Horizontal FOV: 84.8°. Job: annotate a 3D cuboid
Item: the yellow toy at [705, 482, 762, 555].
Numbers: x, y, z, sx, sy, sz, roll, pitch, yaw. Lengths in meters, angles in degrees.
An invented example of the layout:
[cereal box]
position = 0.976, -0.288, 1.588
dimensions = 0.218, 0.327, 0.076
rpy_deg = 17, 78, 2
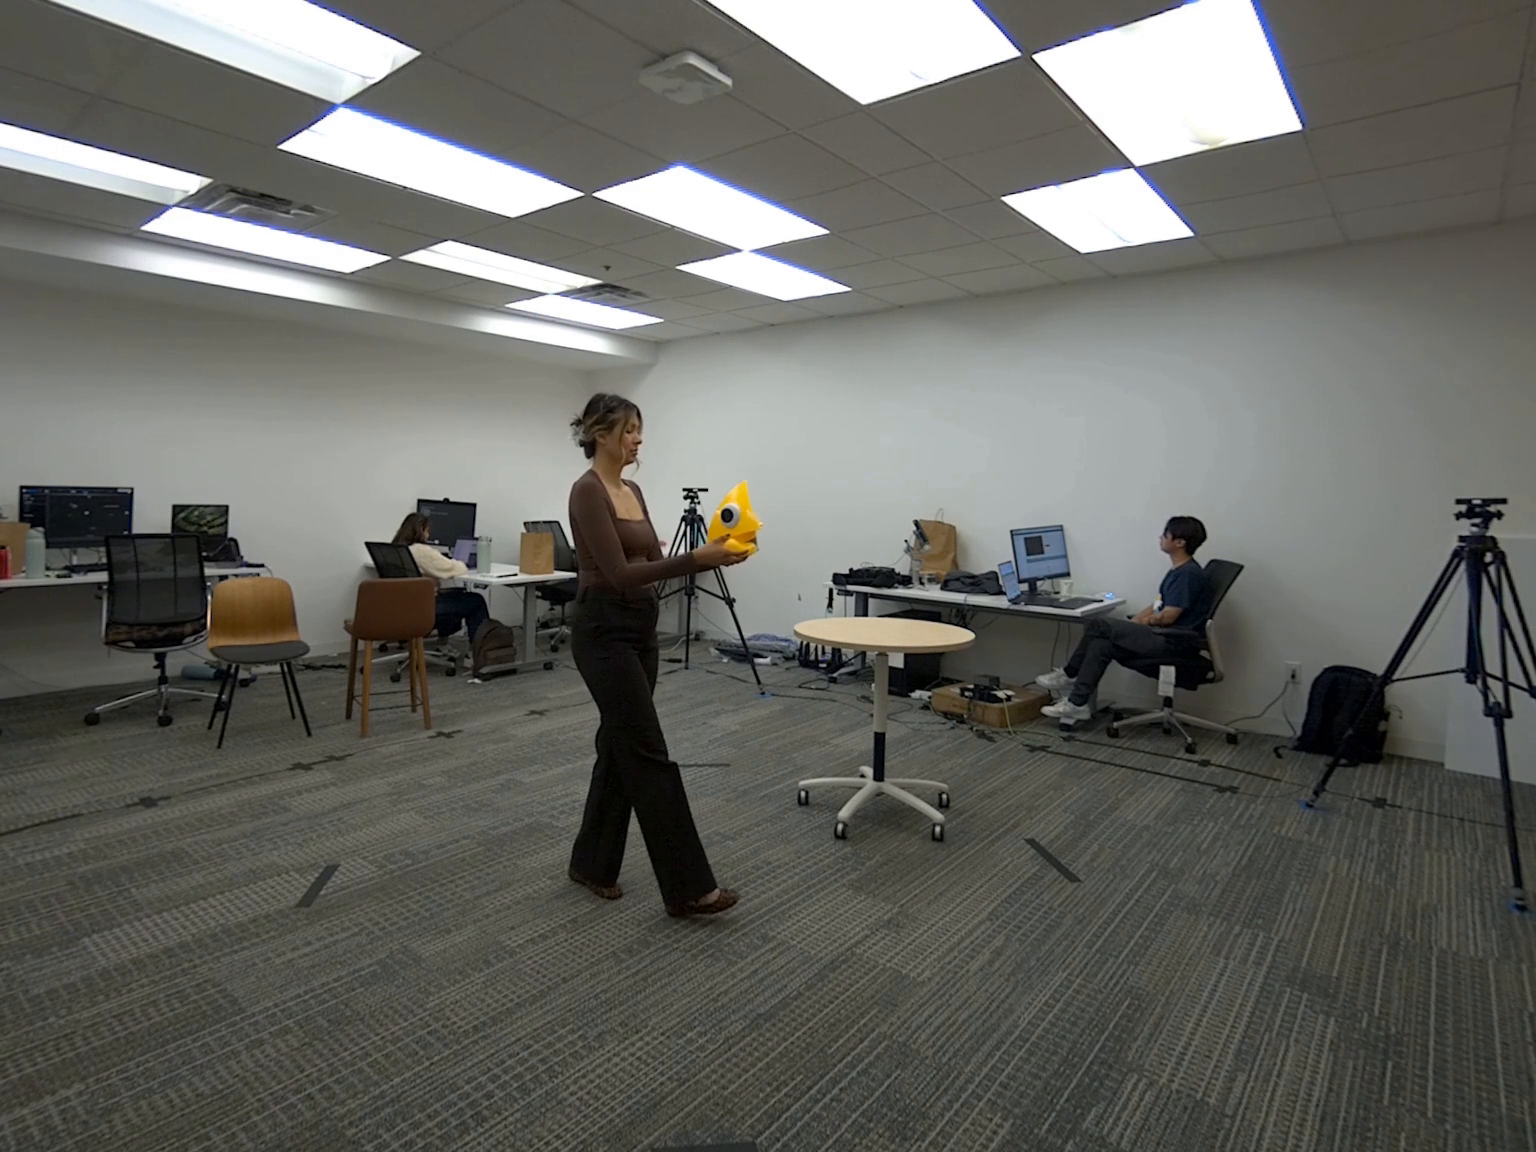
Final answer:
[yellow toy]
position = -0.125, -0.191, 2.776
dimensions = 0.193, 0.229, 0.206
rpy_deg = -6, 9, 1
